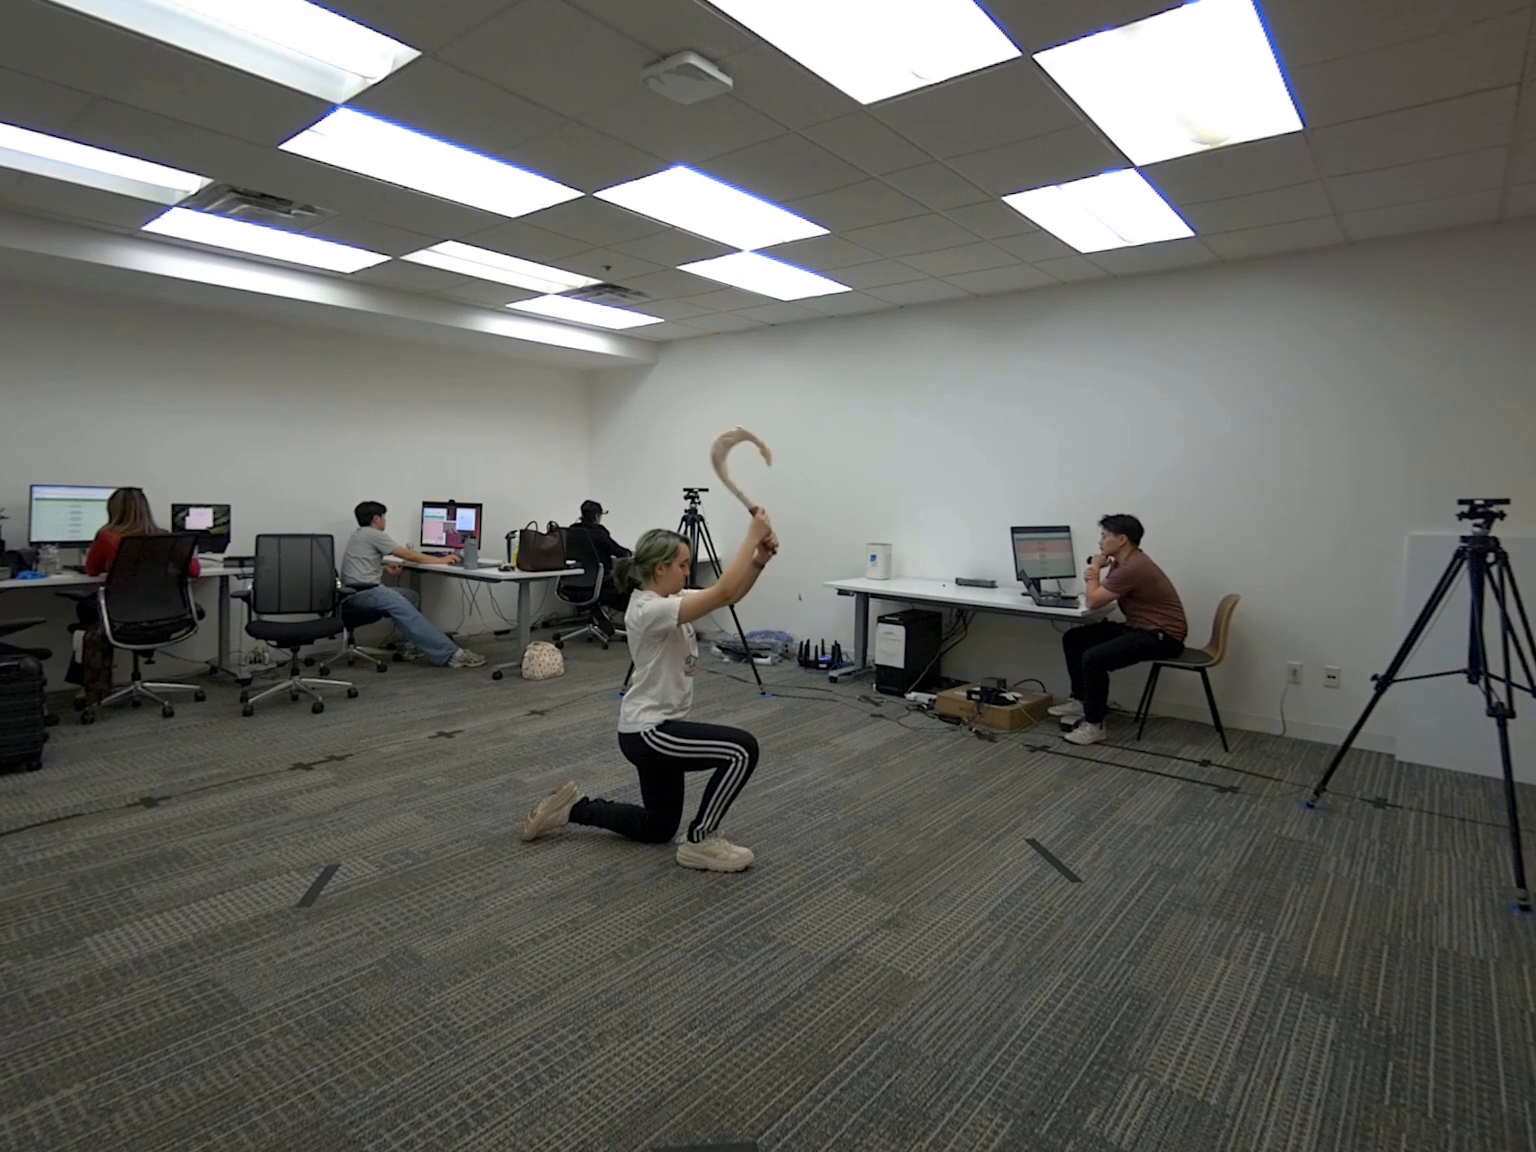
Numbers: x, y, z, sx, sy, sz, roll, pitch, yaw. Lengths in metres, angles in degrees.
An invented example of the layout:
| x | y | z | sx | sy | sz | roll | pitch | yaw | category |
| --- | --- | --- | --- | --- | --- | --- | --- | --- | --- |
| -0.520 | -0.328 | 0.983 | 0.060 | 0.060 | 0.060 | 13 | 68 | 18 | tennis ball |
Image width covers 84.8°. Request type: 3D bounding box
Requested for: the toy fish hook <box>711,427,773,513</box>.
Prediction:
| x | y | z | sx | sy | sz | roll | pitch | yaw | category |
| --- | --- | --- | --- | --- | --- | --- | --- | --- | --- |
| -0.058 | -0.307 | 3.258 | 0.226 | 0.505 | 0.048 | -26 | 2 | 14 | toy fish hook |
